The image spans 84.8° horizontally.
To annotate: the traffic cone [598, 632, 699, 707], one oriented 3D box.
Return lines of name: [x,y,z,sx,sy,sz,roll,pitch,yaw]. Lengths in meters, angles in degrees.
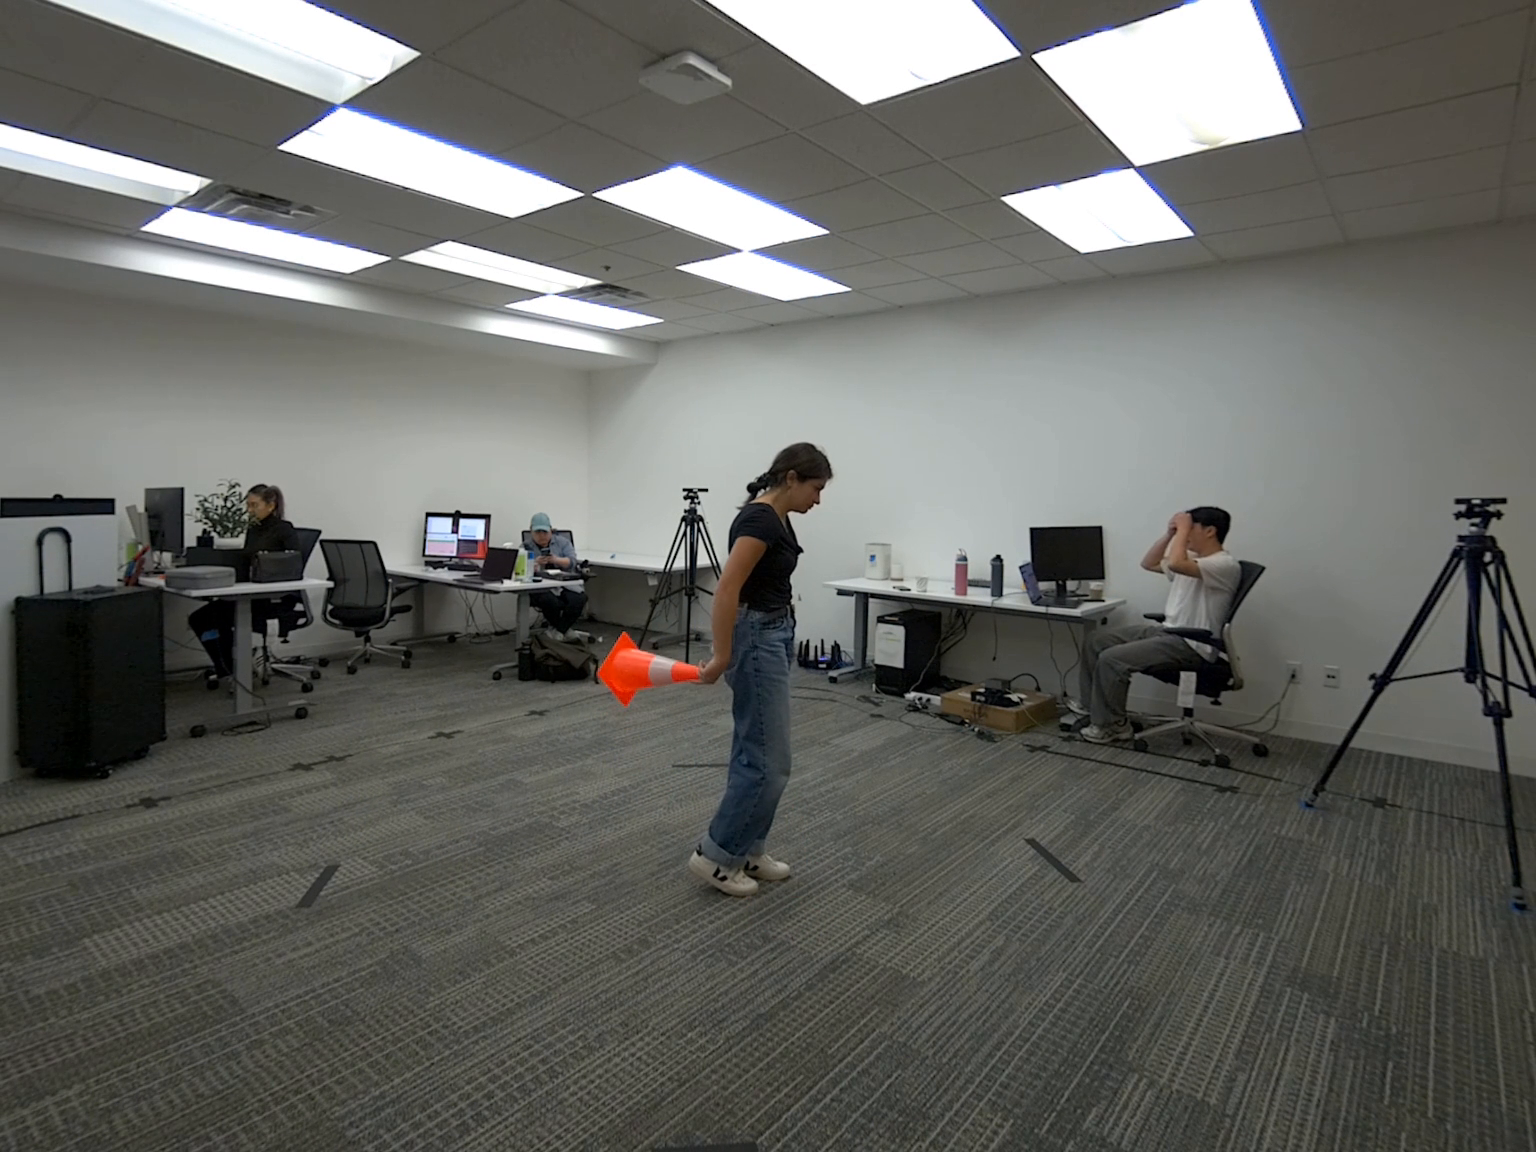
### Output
traffic cone: [-0.360,0.333,2.962,0.395,0.196,0.206,-2,44,39]
